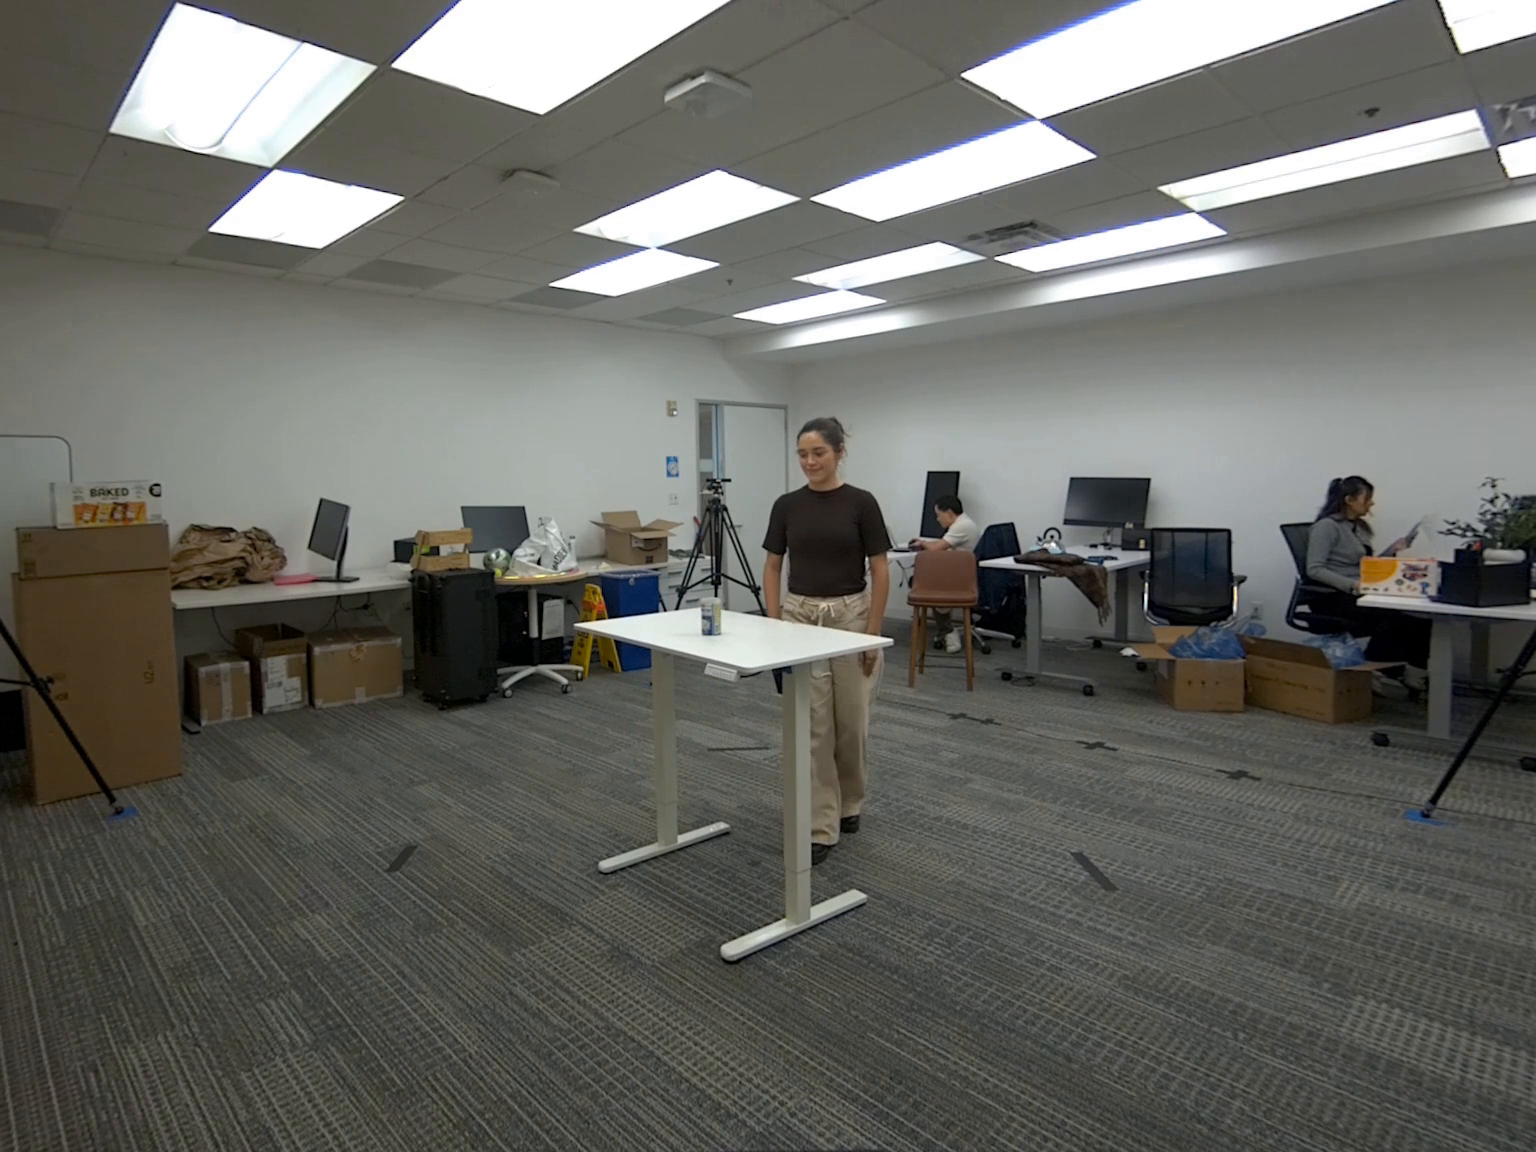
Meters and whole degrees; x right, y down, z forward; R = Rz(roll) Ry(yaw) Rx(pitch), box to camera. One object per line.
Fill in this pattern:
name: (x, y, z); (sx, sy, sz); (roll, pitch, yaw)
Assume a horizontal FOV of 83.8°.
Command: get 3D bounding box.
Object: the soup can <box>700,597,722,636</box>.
soup can: (-0.182, 0.138, 2.829); (0.067, 0.121, 0.067); (-2, 1, -2)
